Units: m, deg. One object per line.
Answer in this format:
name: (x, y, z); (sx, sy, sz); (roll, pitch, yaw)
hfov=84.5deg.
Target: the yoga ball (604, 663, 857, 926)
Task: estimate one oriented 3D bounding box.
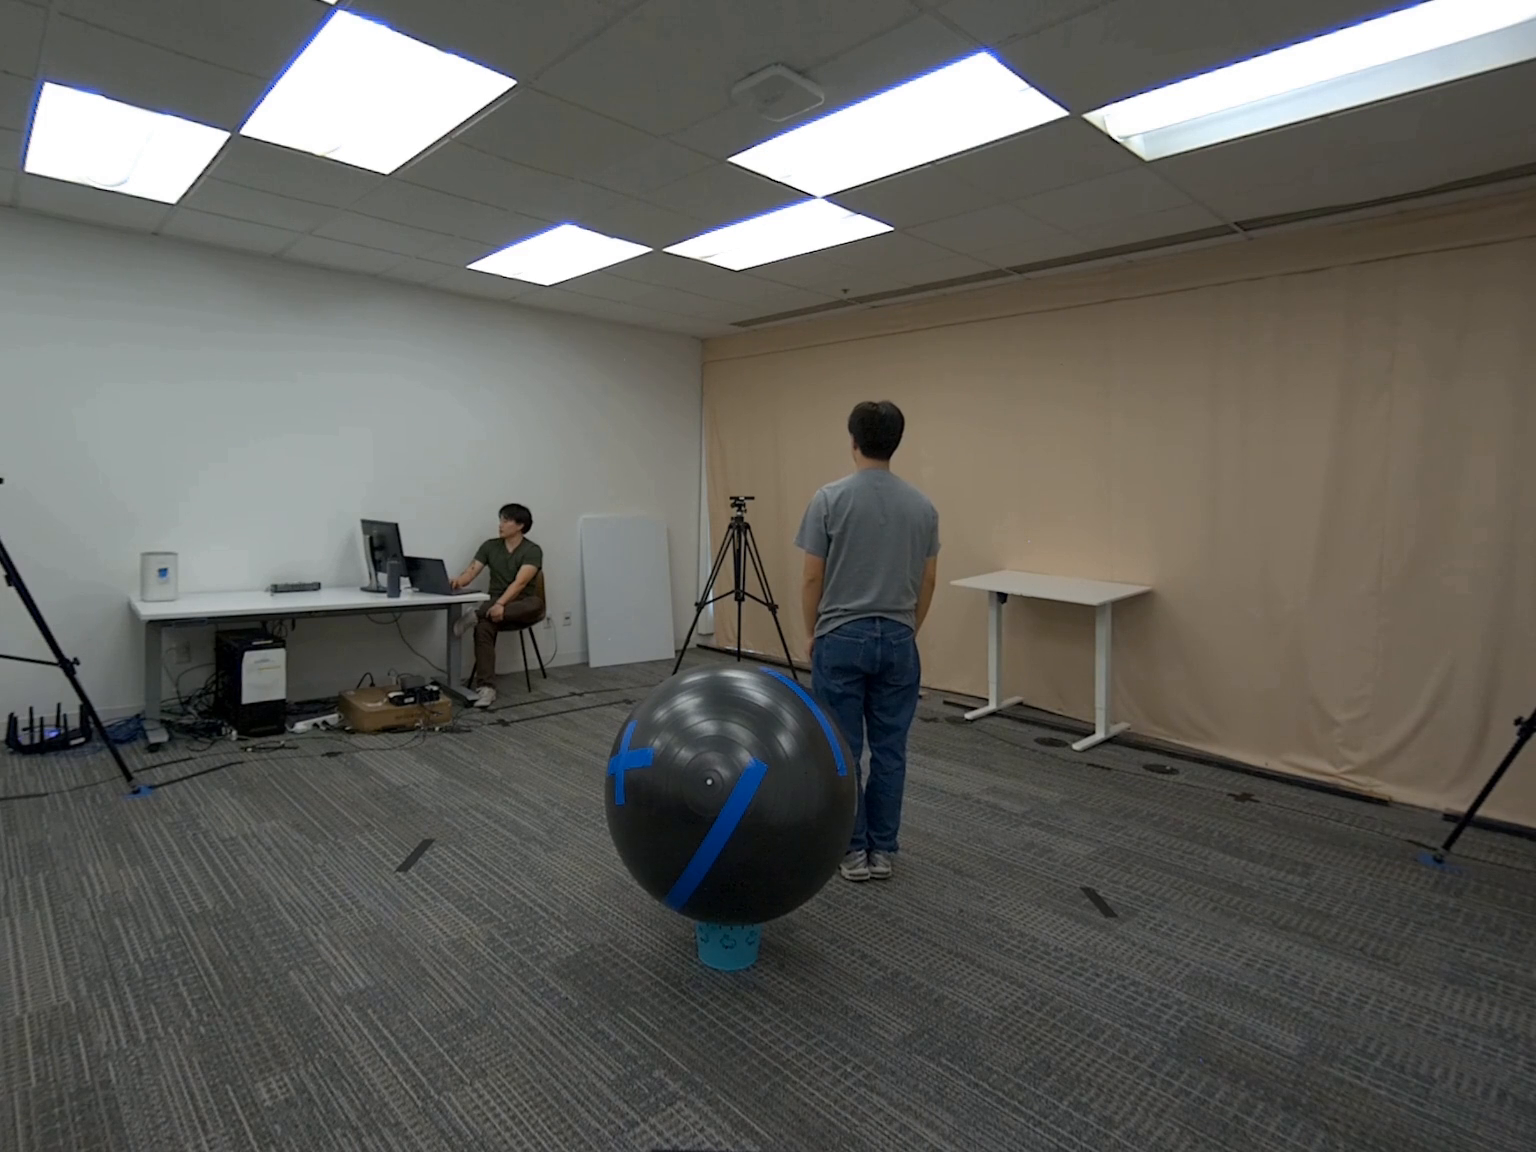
yoga ball: (-0.119, 0.649, 2.540); (0.757, 0.756, 0.761); (1, 4, -1)
